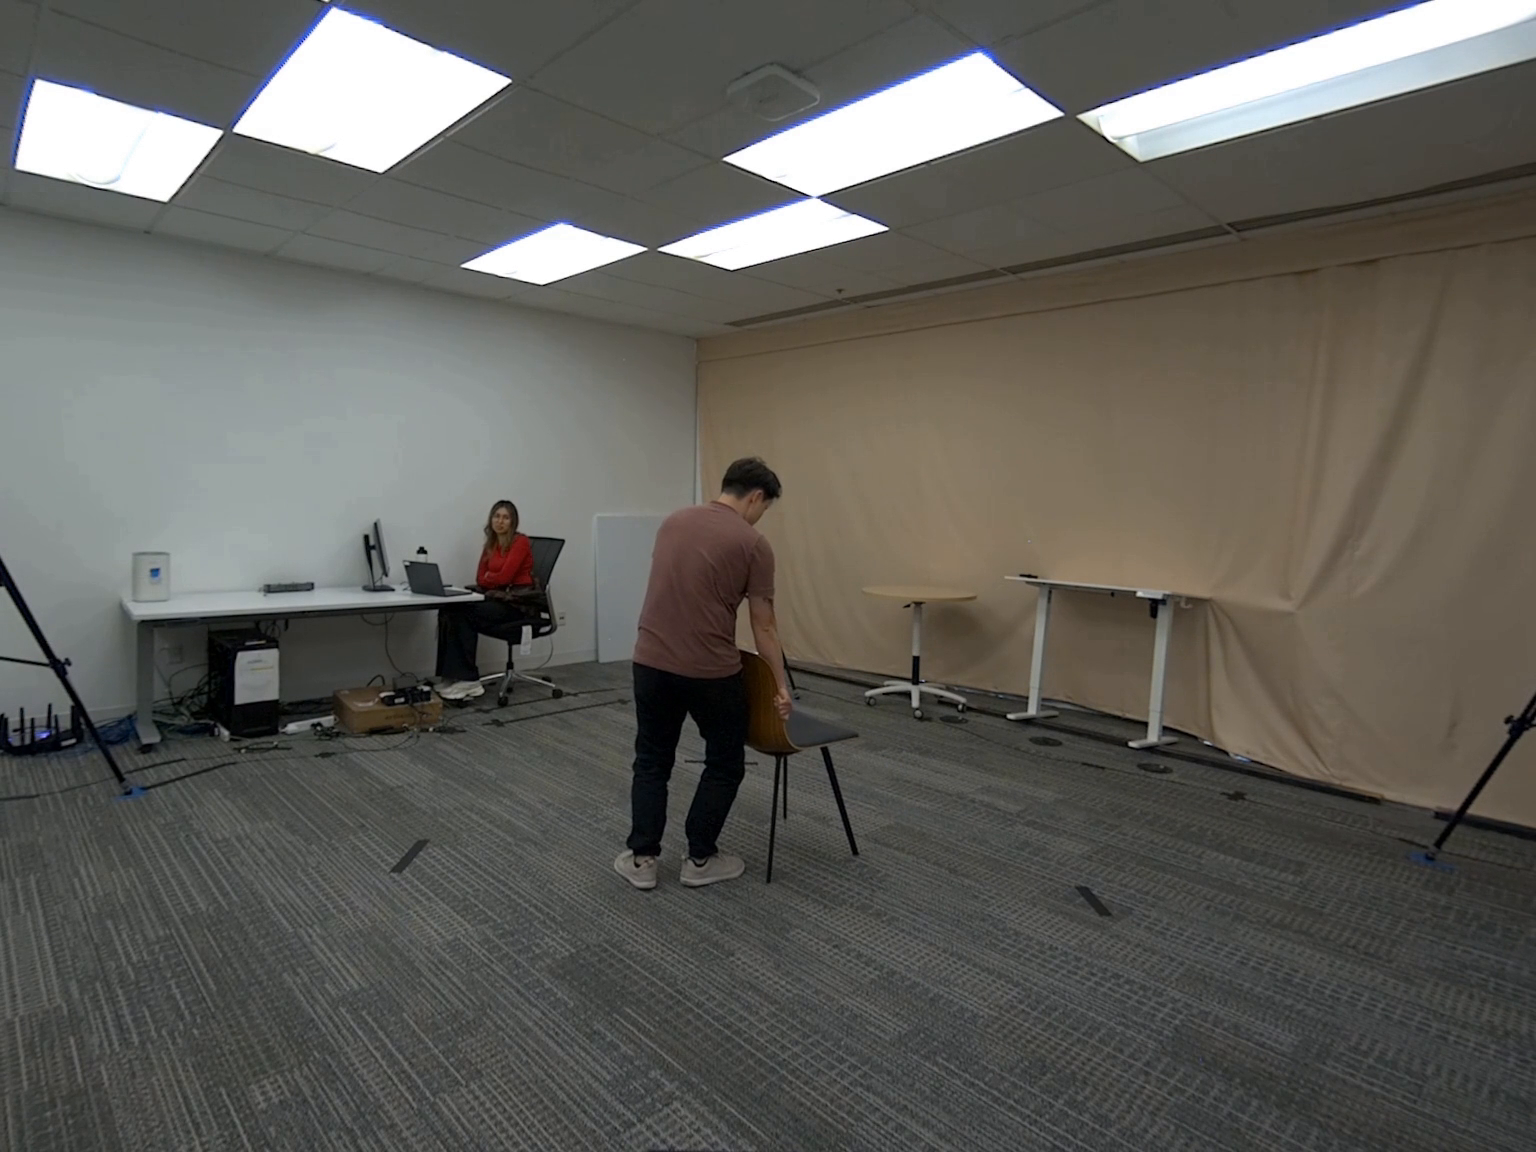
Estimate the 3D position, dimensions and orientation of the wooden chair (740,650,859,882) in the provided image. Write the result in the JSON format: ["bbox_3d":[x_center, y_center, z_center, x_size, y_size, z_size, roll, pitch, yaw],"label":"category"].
[{"bbox_3d":[0.051,0.657,3.330,0.513,0.873,0.490,-7,8,-37],"label":"wooden chair"}]
